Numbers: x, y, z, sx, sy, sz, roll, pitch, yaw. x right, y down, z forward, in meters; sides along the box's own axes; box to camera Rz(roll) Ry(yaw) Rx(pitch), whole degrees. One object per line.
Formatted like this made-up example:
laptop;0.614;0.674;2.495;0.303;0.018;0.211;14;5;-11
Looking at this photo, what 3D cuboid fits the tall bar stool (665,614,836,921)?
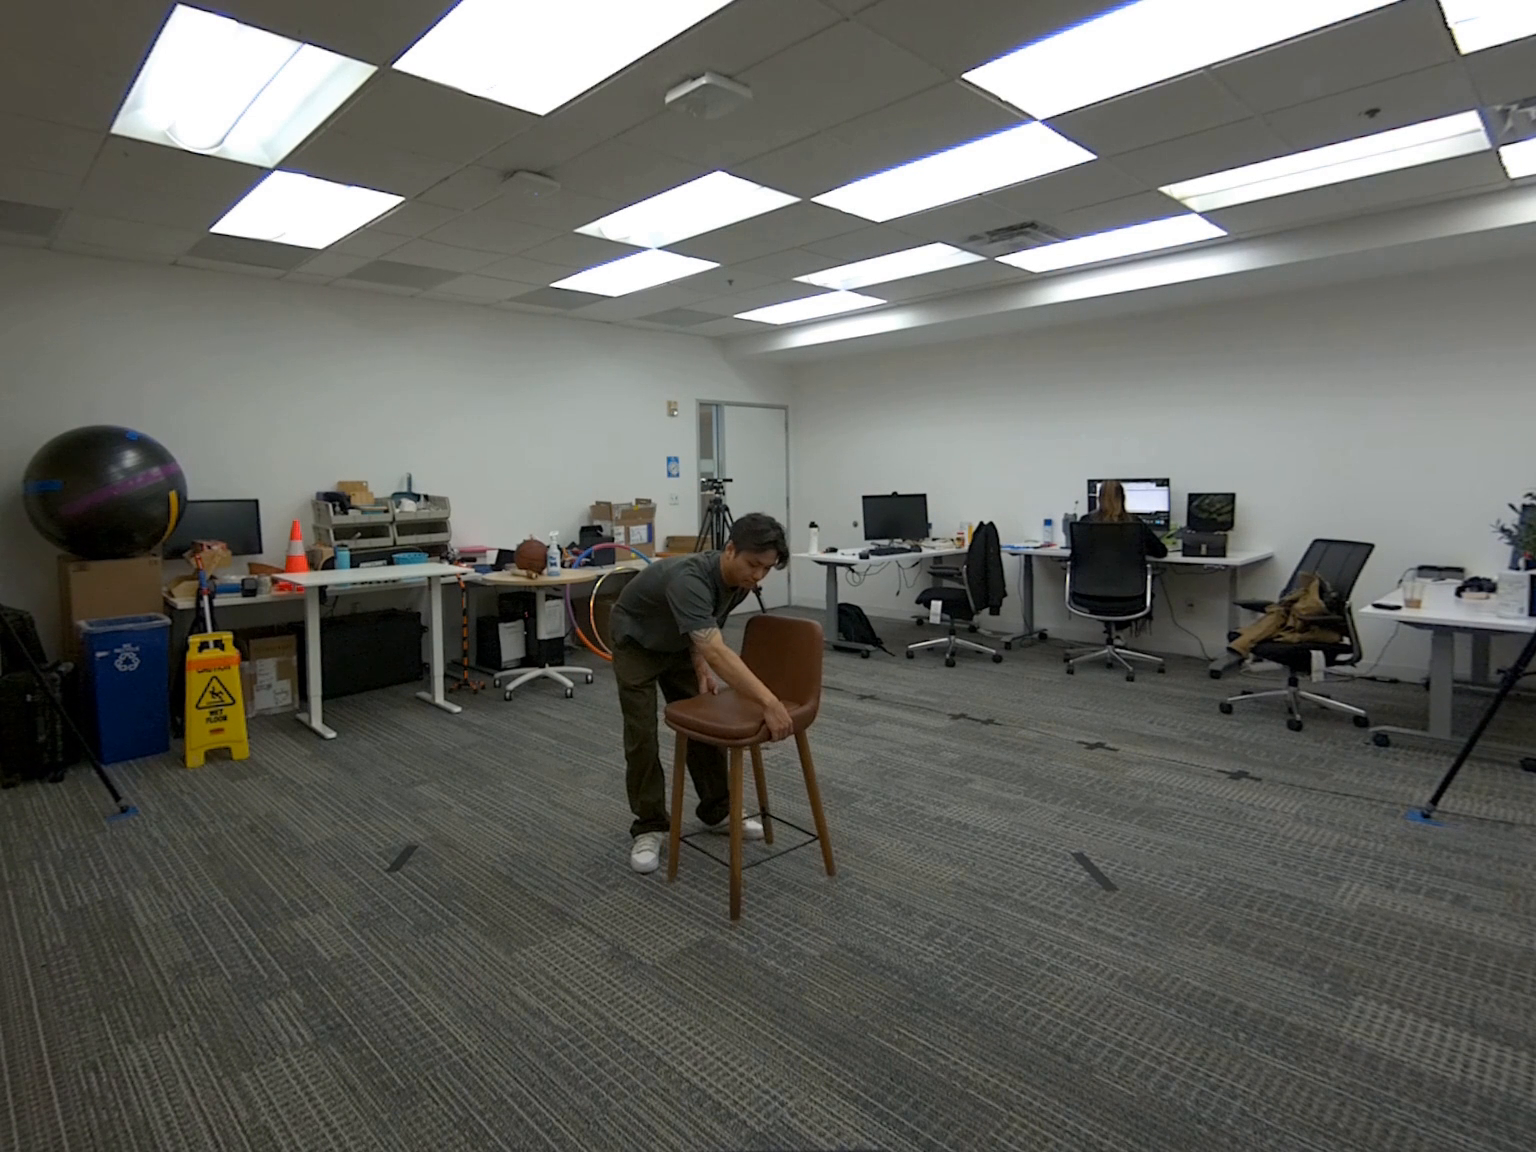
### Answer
tall bar stool;-0.072;0.609;2.919;0.456;0.887;0.470;-5;4;-37
